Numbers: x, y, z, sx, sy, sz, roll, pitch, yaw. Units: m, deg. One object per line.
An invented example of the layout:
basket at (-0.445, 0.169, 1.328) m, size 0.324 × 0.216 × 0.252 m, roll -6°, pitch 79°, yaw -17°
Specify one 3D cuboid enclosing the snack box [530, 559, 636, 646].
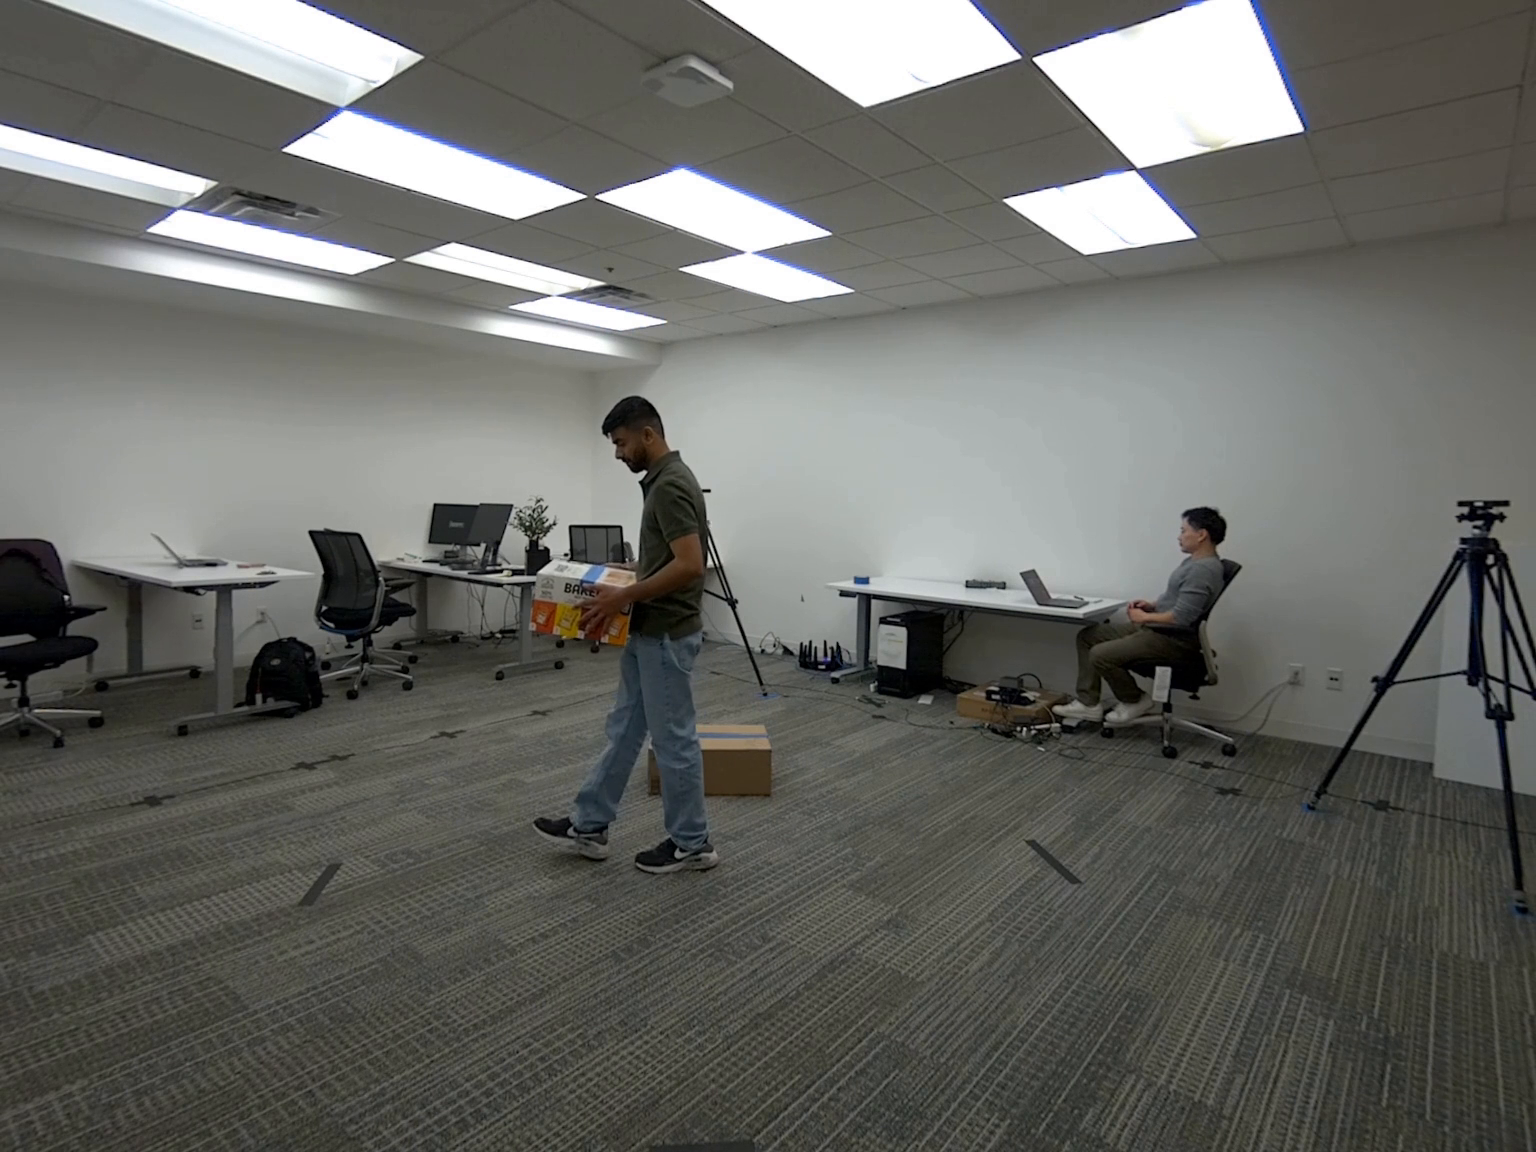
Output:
snack box at (-0.677, 0.079, 3.114) m, size 0.339 × 0.205 × 0.409 m, roll 9°, pitch 7°, yaw -5°
